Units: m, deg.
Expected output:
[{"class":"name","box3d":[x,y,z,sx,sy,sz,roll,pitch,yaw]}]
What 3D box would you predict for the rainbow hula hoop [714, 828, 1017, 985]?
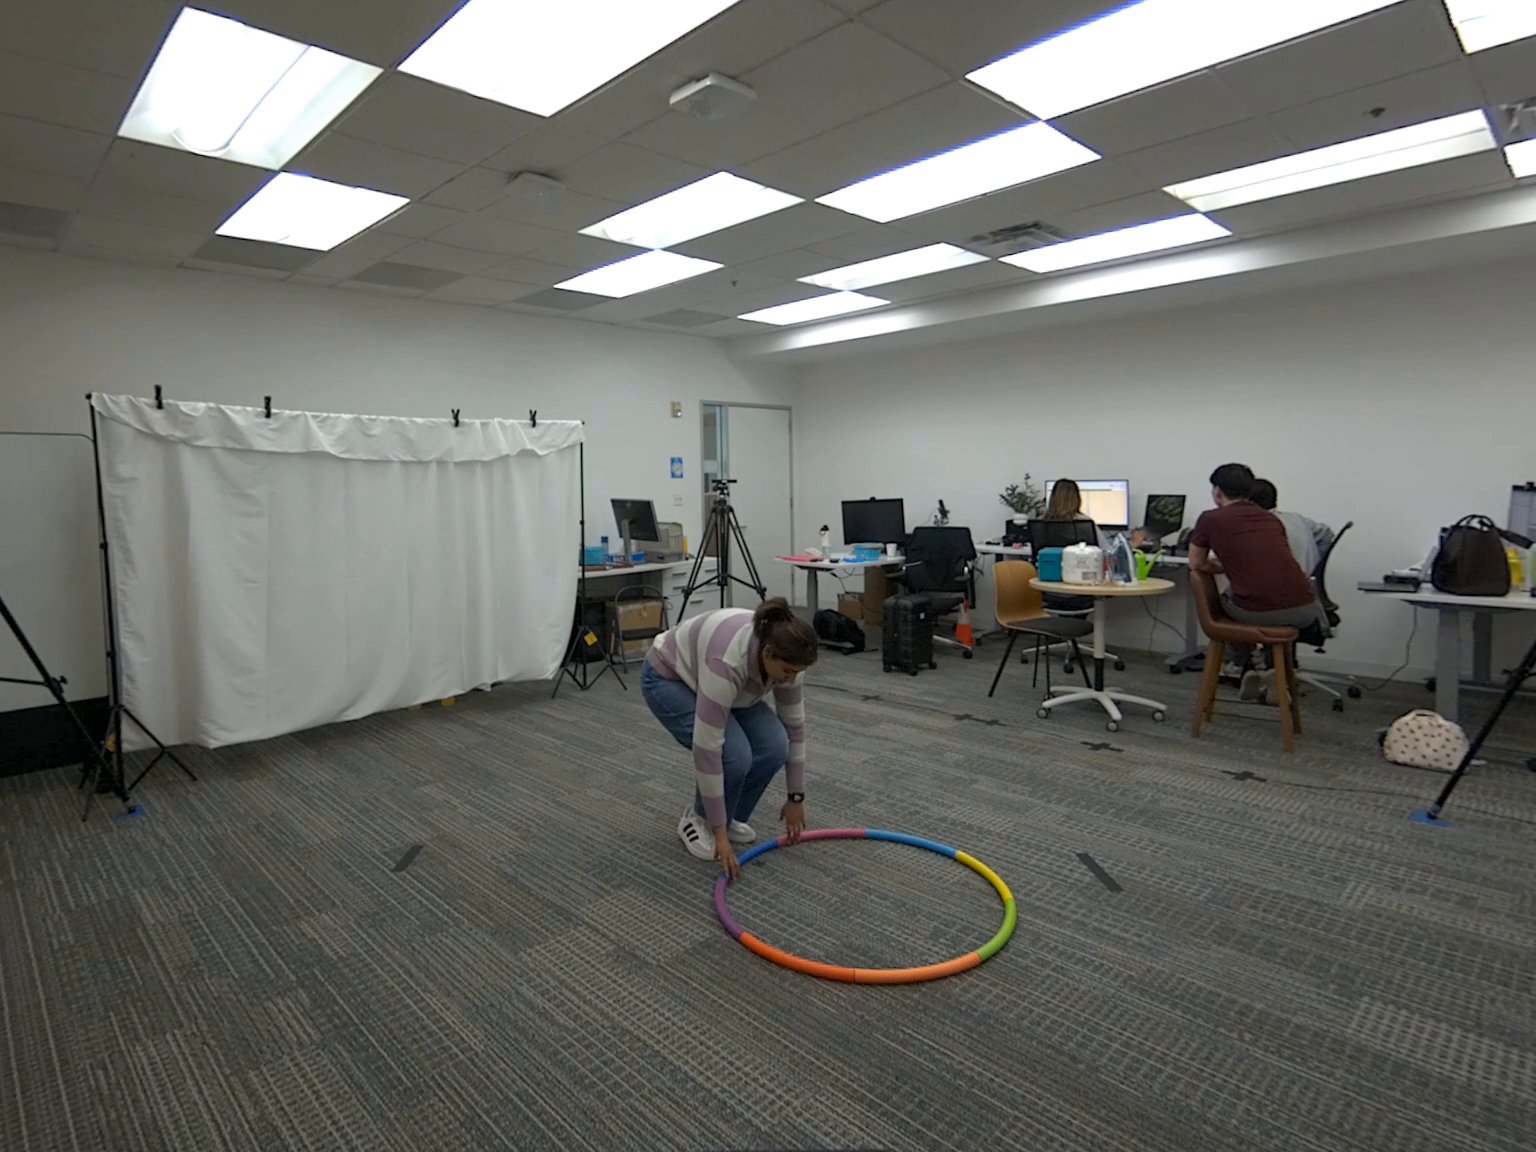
[{"class":"rainbow hula hoop","box3d":[0.310,1.041,2.835,0.978,0.035,0.984,-1,7,-2]}]
